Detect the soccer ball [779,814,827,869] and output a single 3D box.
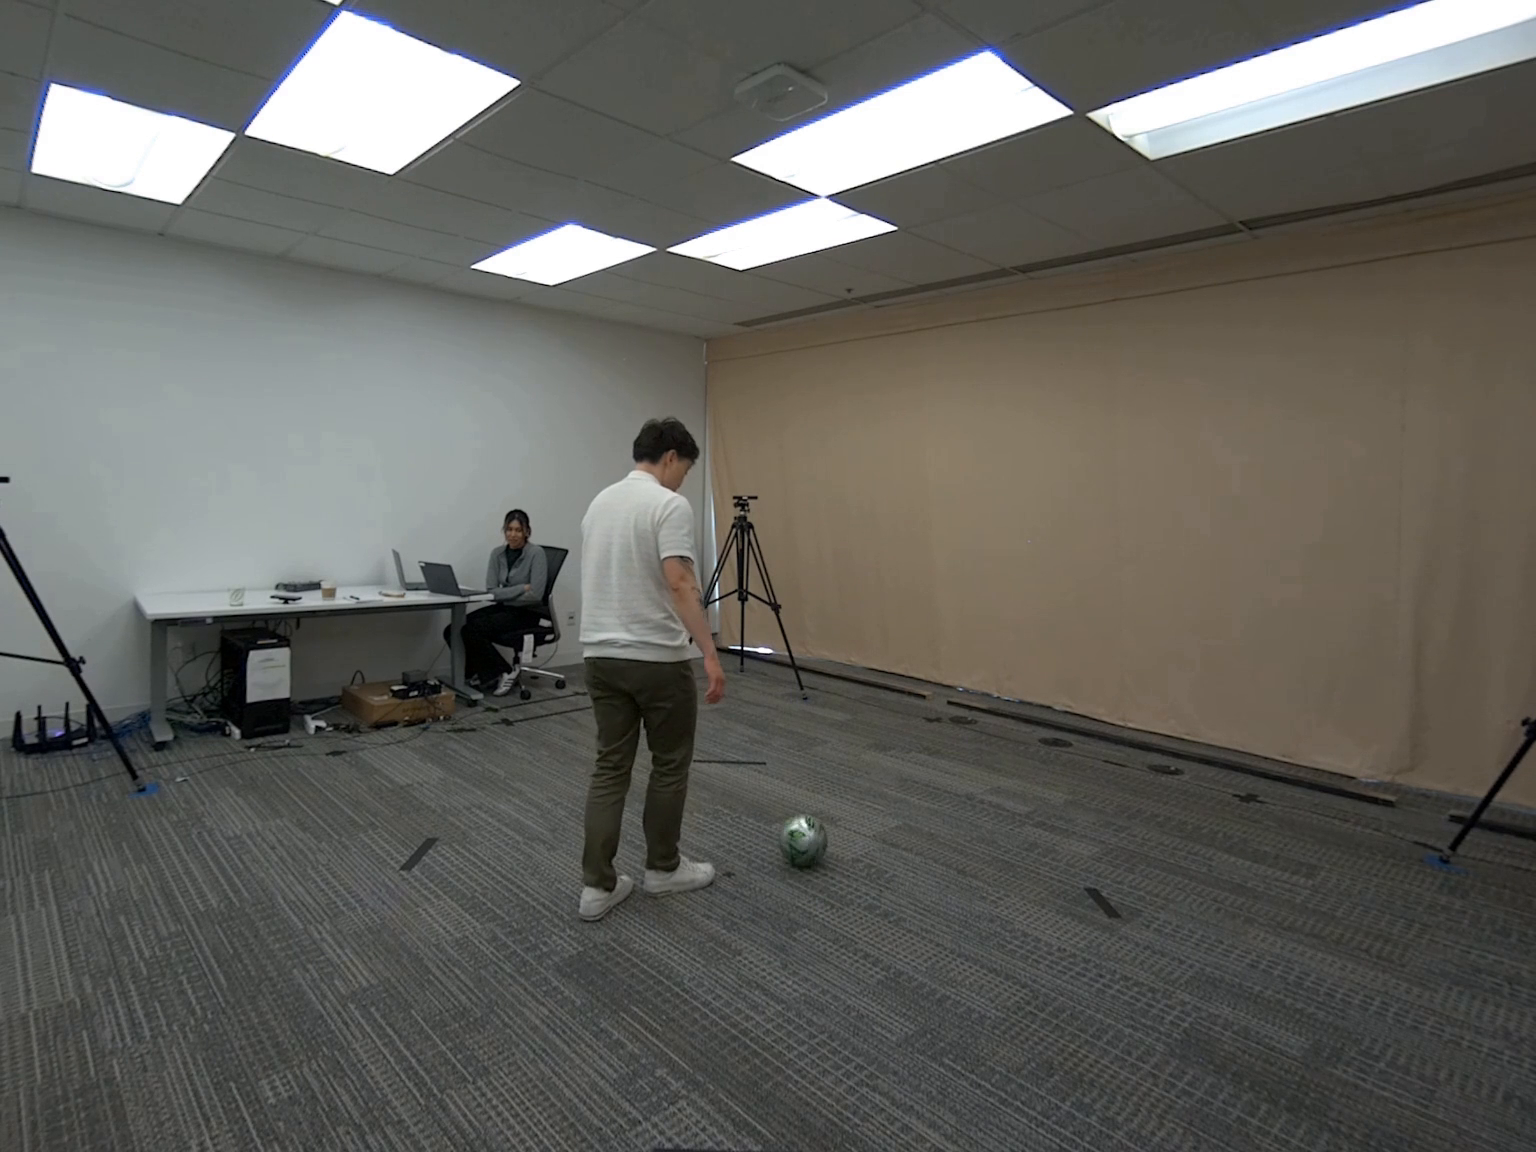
[{"bbox_3d":[0.125,1.002,3.201,0.187,0.187,0.188,1,4,-1],"label":"soccer ball"}]
